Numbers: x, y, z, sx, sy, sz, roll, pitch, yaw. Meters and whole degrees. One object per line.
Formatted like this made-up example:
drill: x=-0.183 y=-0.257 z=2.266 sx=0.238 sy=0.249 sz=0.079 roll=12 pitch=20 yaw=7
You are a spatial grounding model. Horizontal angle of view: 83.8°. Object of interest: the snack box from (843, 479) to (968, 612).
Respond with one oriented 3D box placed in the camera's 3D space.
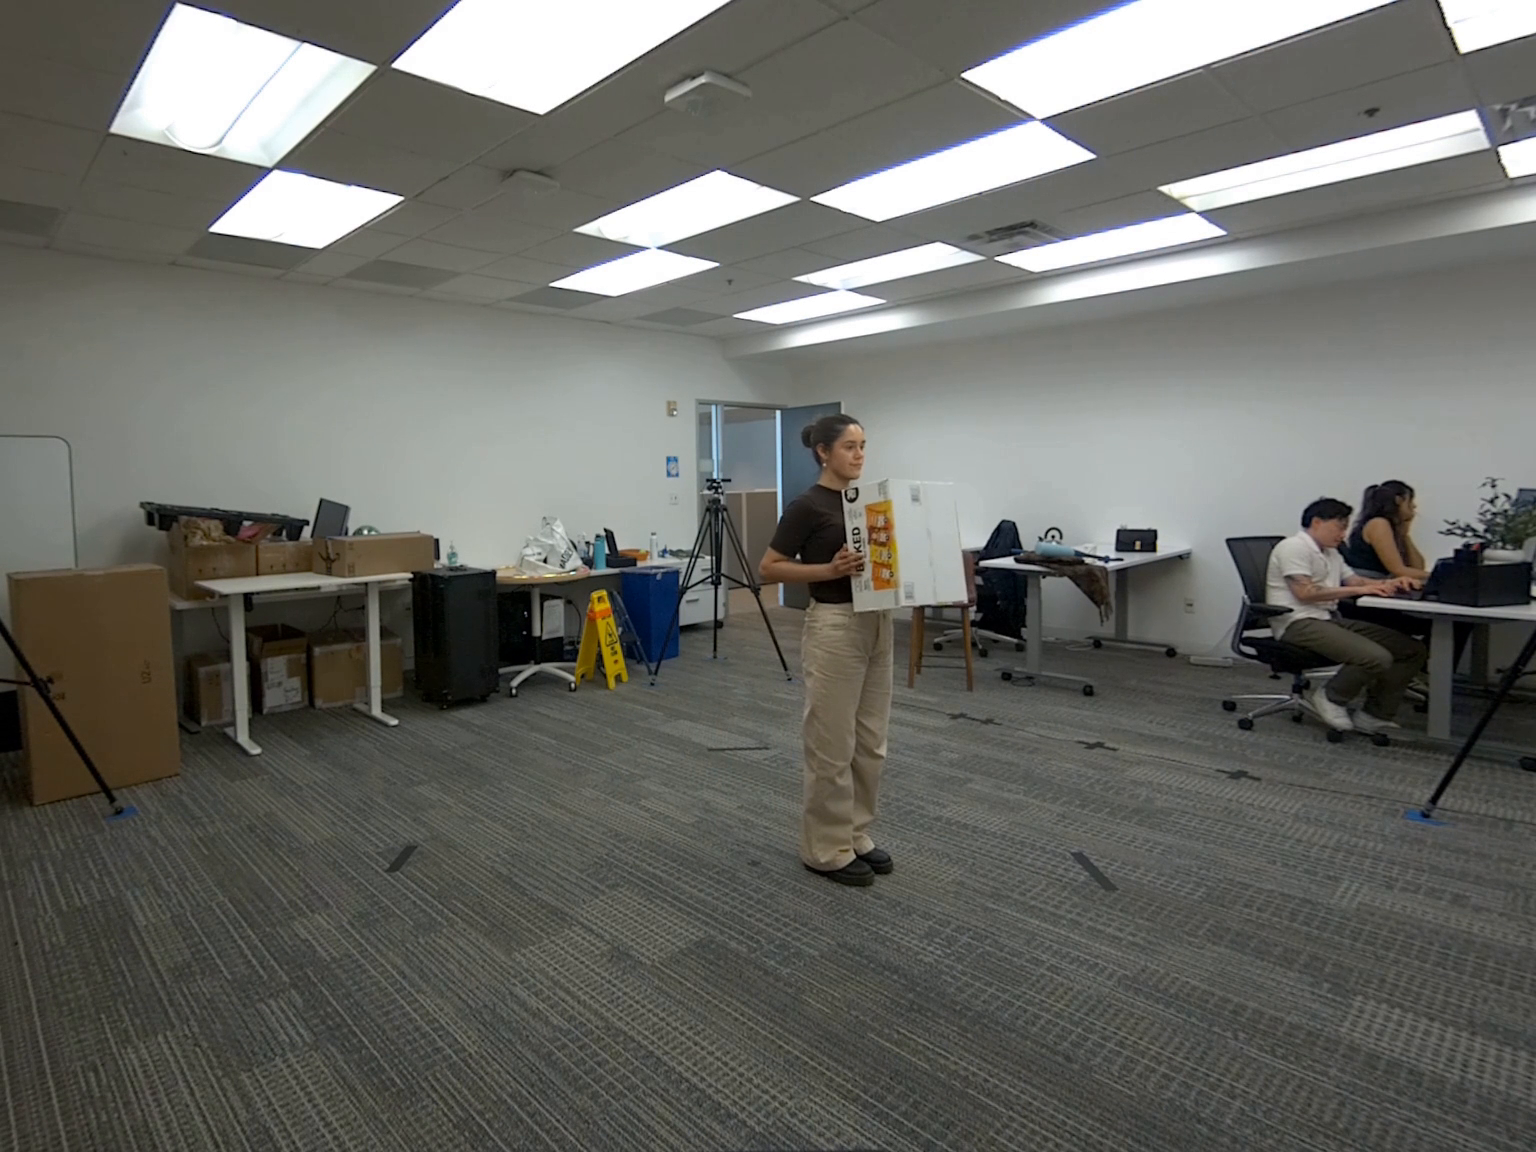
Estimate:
snack box: x=0.454 y=-0.098 z=2.827 sx=0.331 sy=0.407 sz=0.210 roll=-1 pitch=-6 yaw=-39
